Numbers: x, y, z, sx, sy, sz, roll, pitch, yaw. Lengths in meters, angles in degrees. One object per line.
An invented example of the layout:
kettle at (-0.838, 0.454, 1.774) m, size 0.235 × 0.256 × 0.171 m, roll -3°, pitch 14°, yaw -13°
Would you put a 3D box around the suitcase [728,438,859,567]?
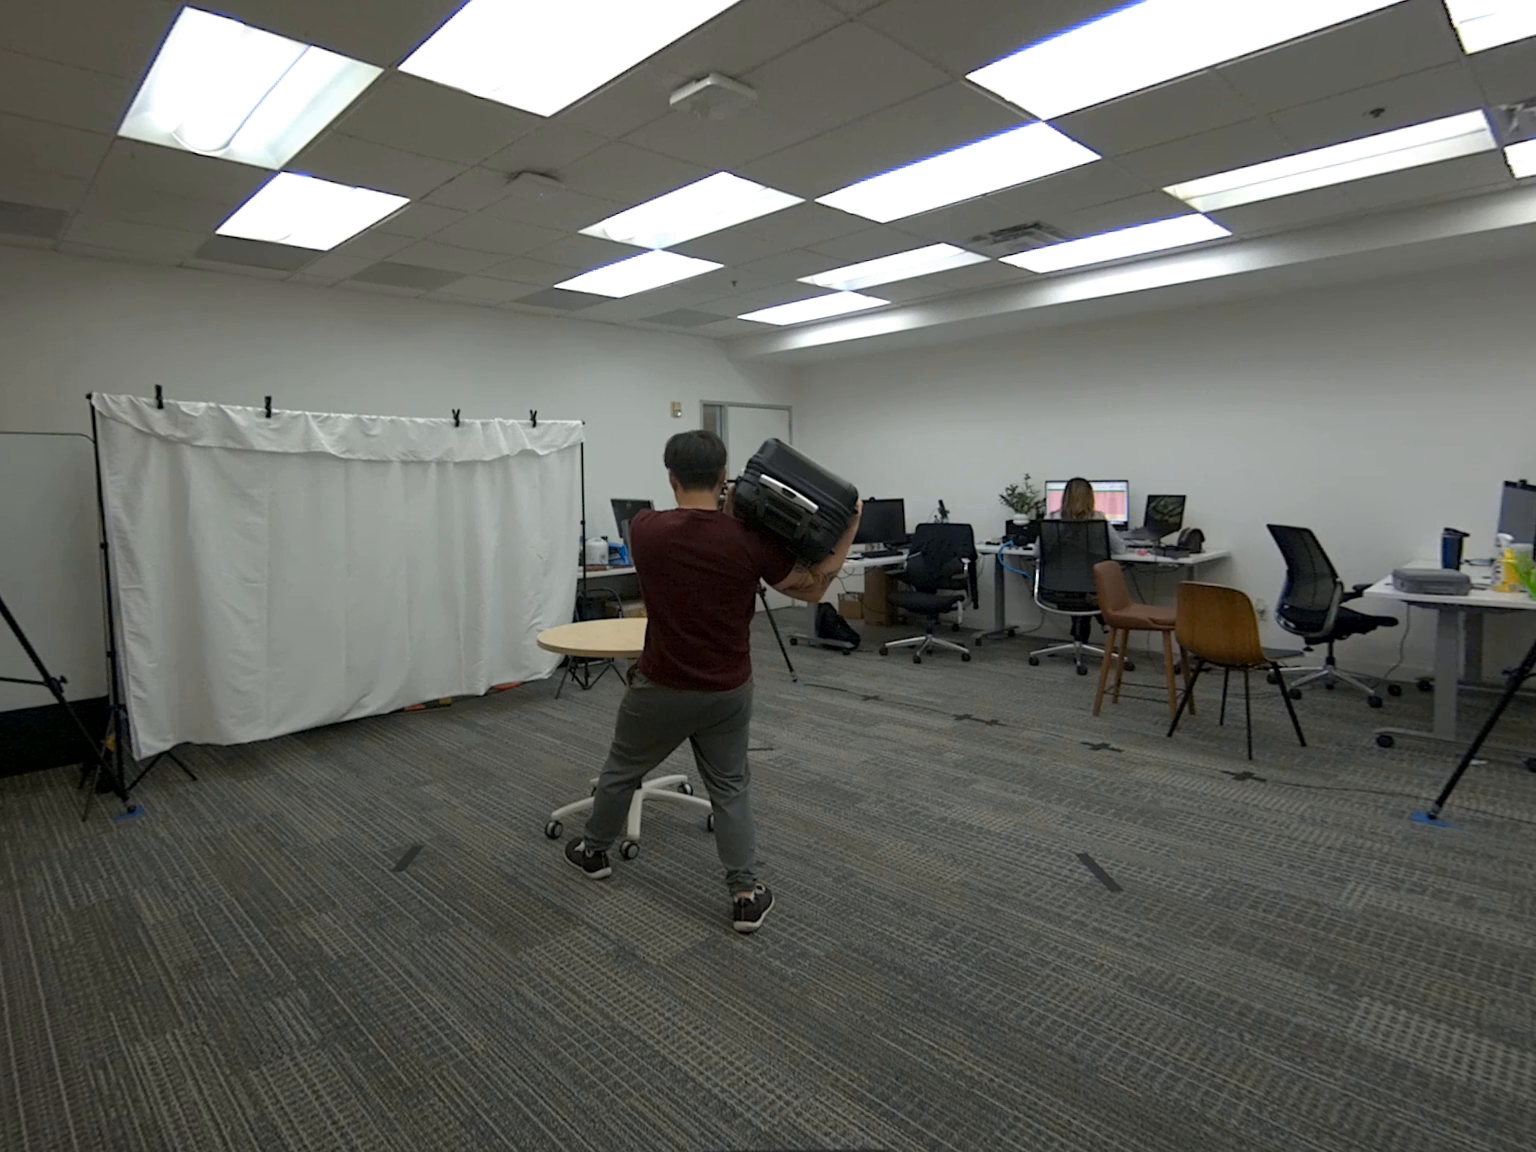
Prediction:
suitcase at (0.087, -0.247, 2.573) m, size 0.386 × 0.257 × 0.971 m, roll 34°, pitch -8°, yaw 2°
